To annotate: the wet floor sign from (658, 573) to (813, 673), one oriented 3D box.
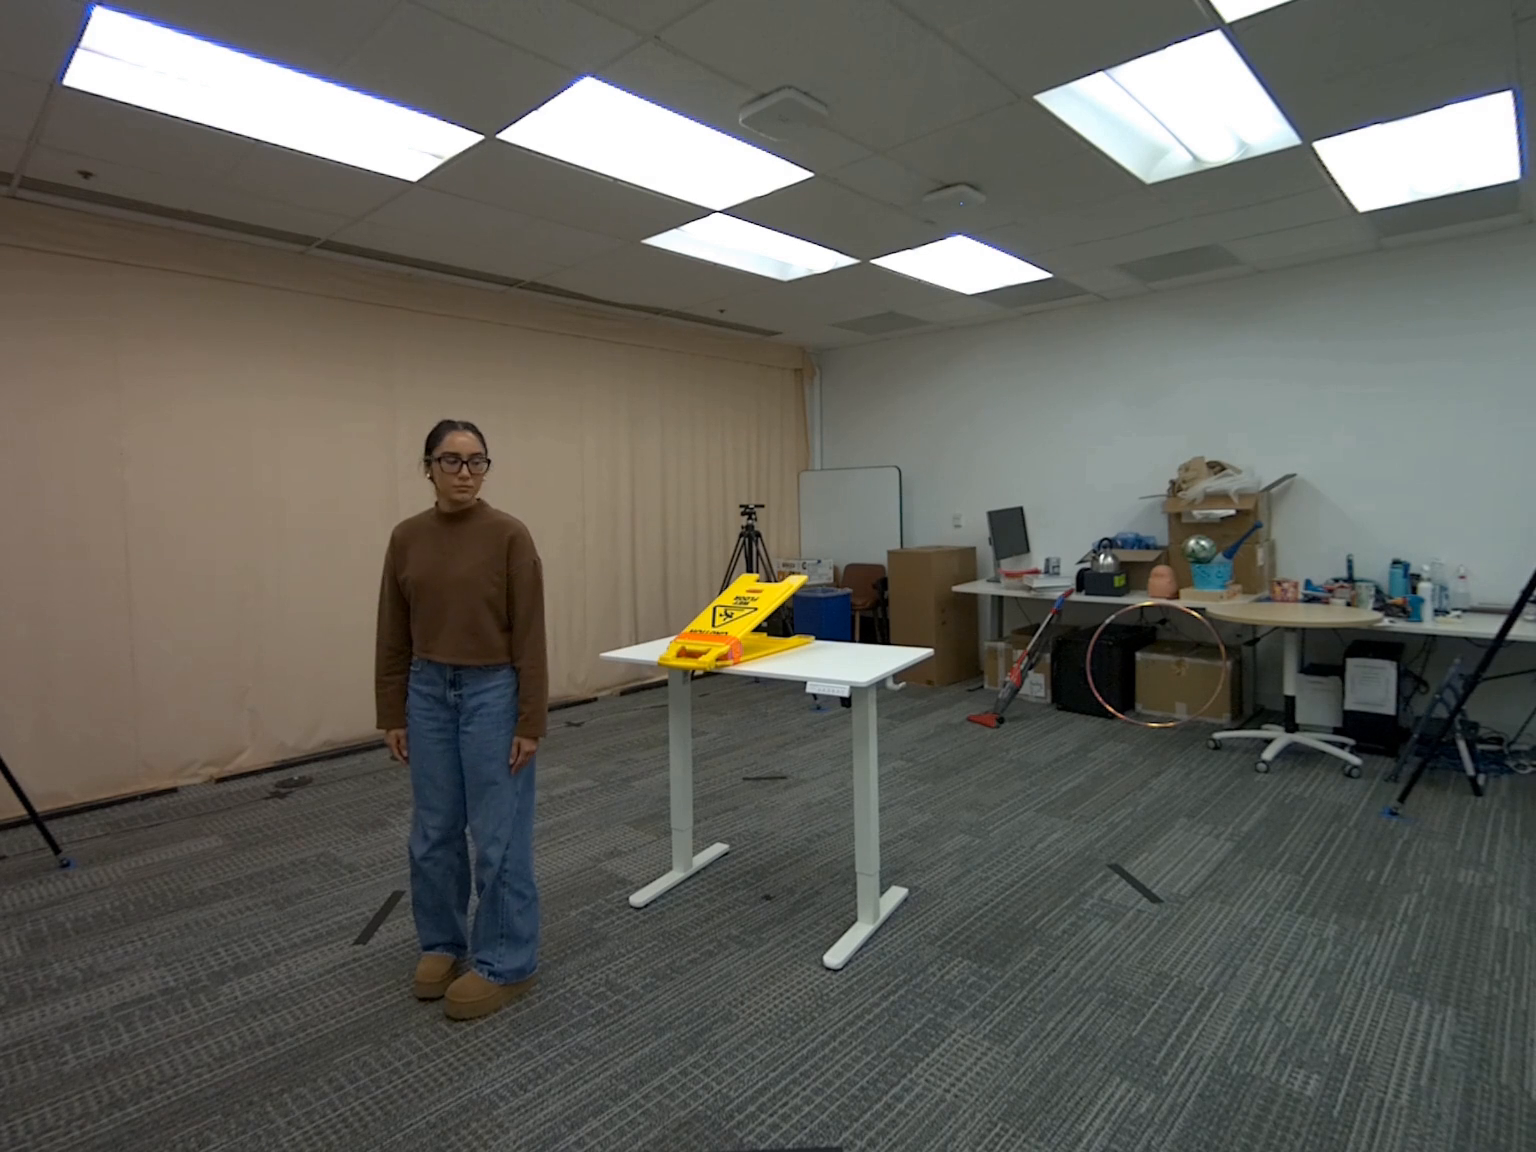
[{"bbox_3d":[-0.112,0.201,2.887,0.290,0.287,0.633,2,14,30],"label":"wet floor sign"}]
